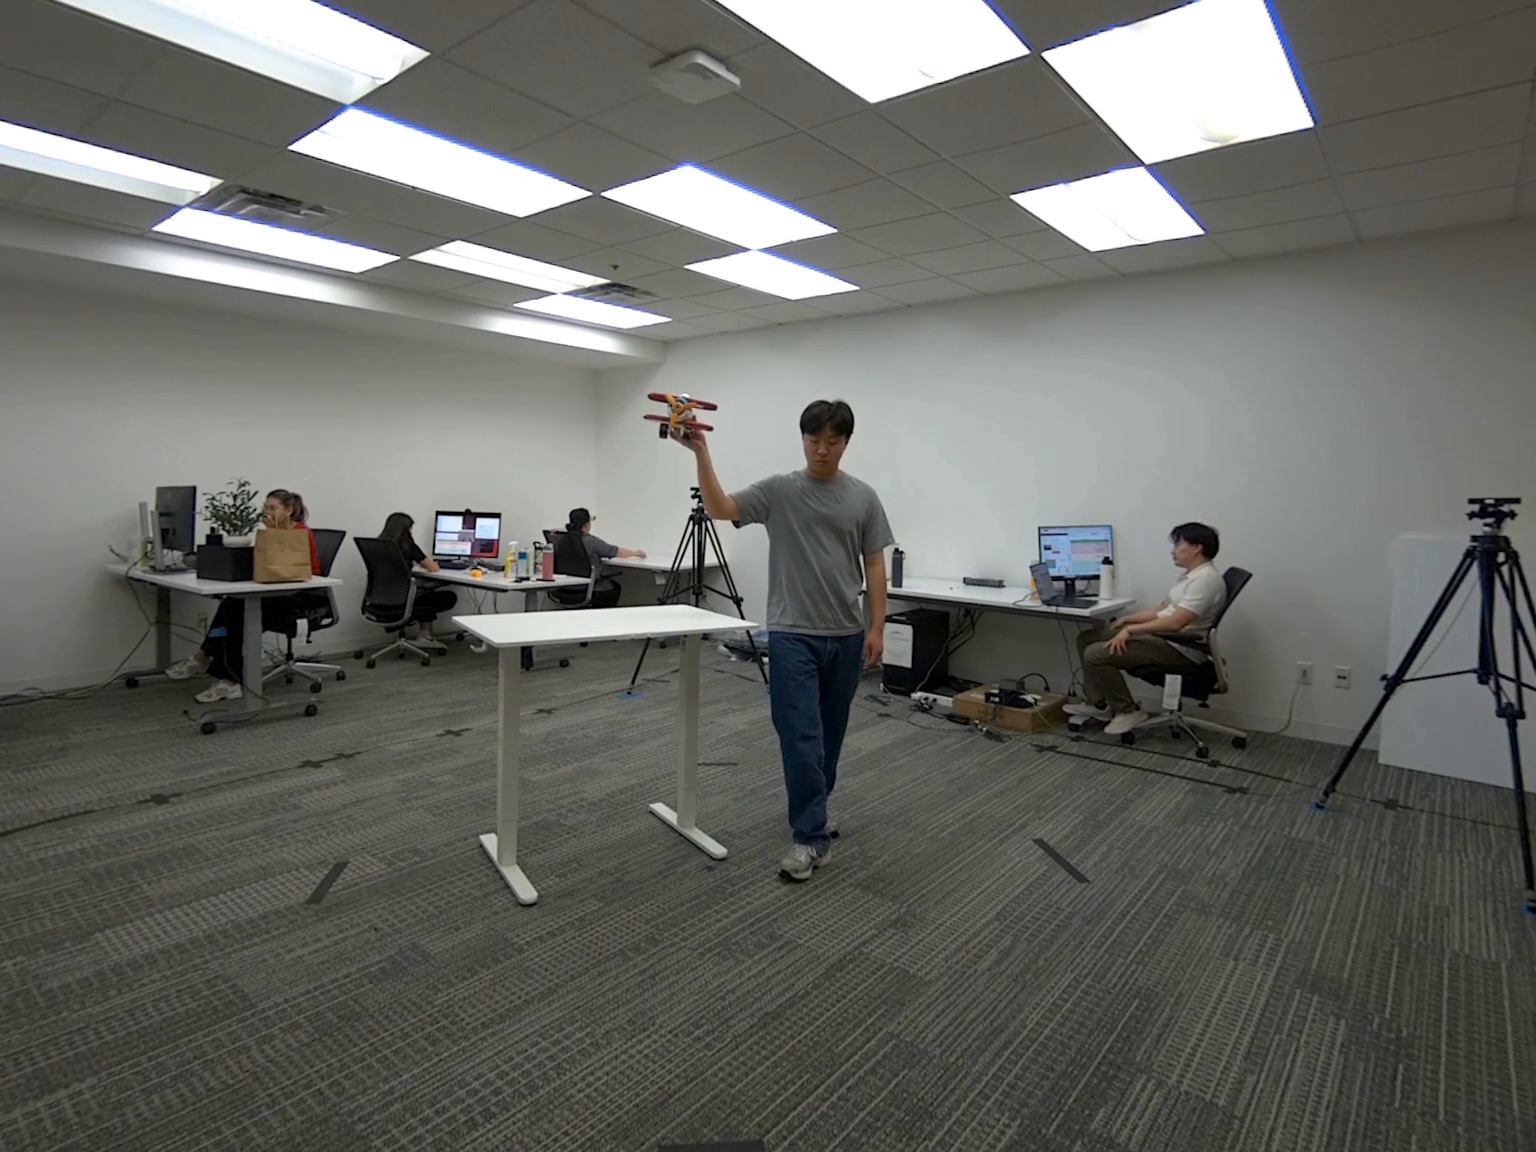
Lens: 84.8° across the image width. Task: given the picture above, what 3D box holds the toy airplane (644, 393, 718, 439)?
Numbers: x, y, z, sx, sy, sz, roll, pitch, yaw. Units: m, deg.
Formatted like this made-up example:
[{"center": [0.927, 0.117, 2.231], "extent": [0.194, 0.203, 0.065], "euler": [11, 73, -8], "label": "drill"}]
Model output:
[{"center": [-0.352, -0.580, 3.079], "extent": [0.244, 0.155, 0.268], "euler": [4, 14, -26], "label": "toy airplane"}]
